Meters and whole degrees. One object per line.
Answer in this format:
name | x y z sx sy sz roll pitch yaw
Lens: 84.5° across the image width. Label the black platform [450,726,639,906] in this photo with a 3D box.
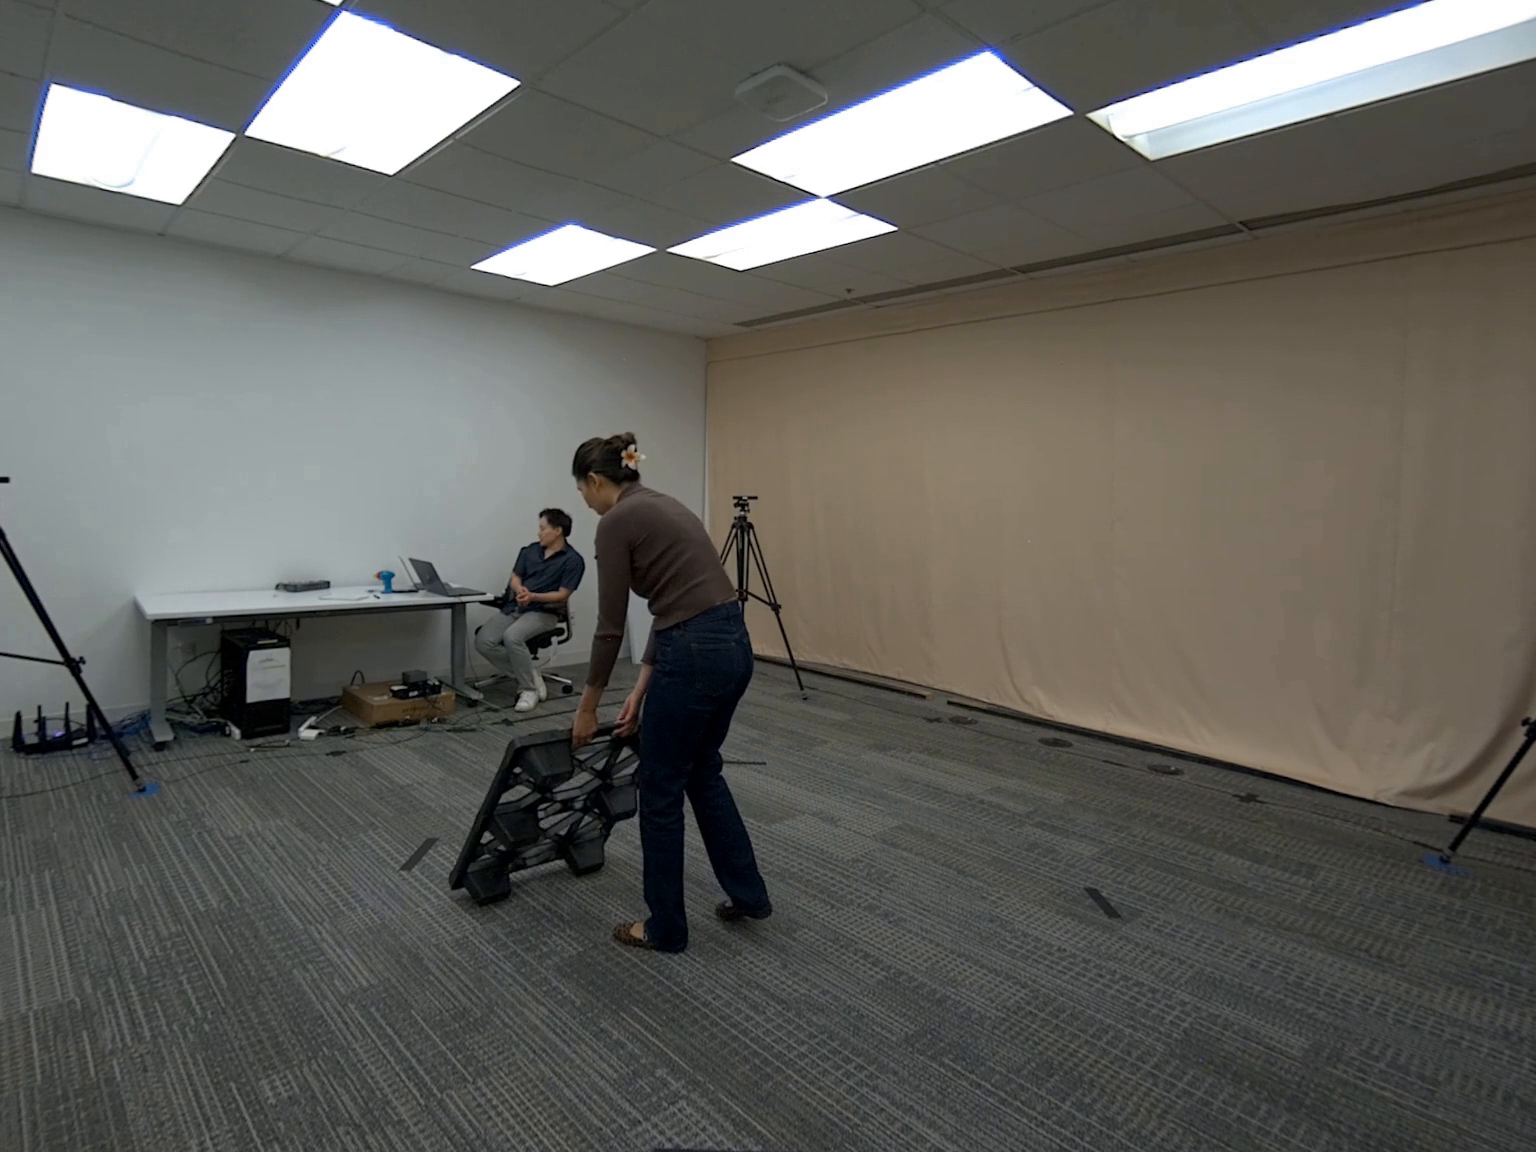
black platform | -0.672 0.790 2.811 0.592 0.800 0.147 -4 46 -41
